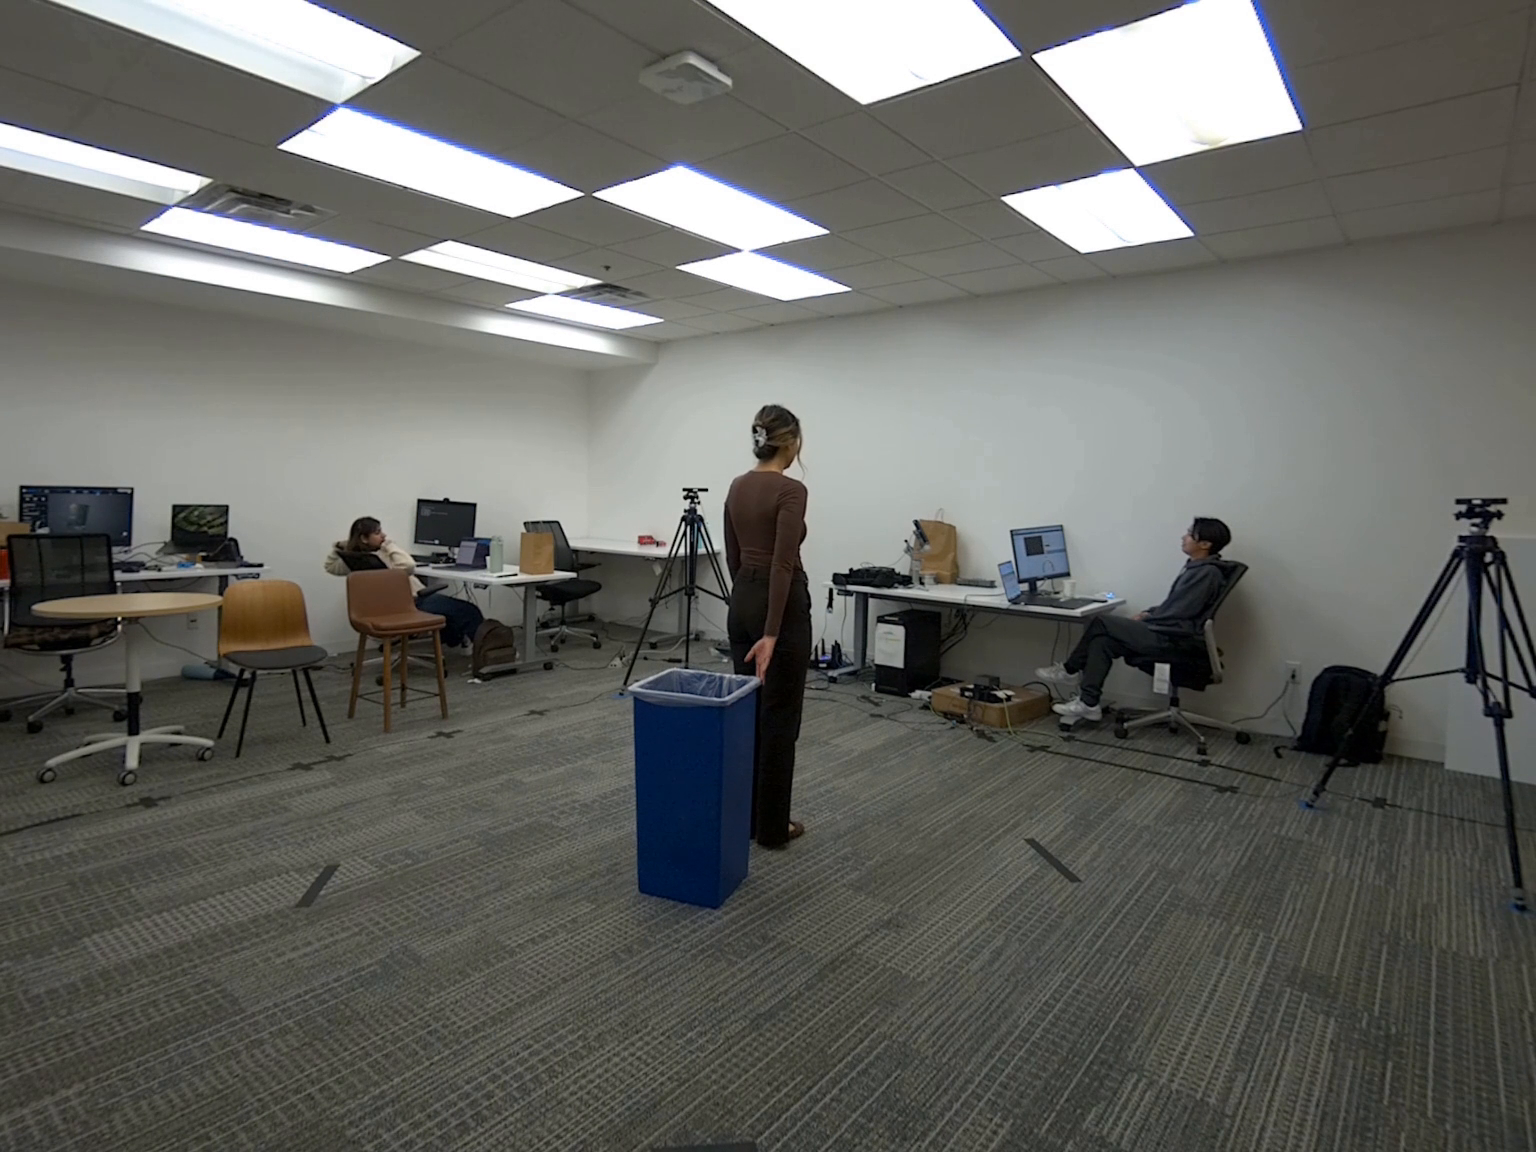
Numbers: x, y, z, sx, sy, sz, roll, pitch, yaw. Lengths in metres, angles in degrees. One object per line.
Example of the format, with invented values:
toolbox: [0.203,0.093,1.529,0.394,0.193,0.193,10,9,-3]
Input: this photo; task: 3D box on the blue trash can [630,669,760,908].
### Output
blue trash can: [-0.260,0.721,2.985,0.382,0.712,0.371,1,3,20]
